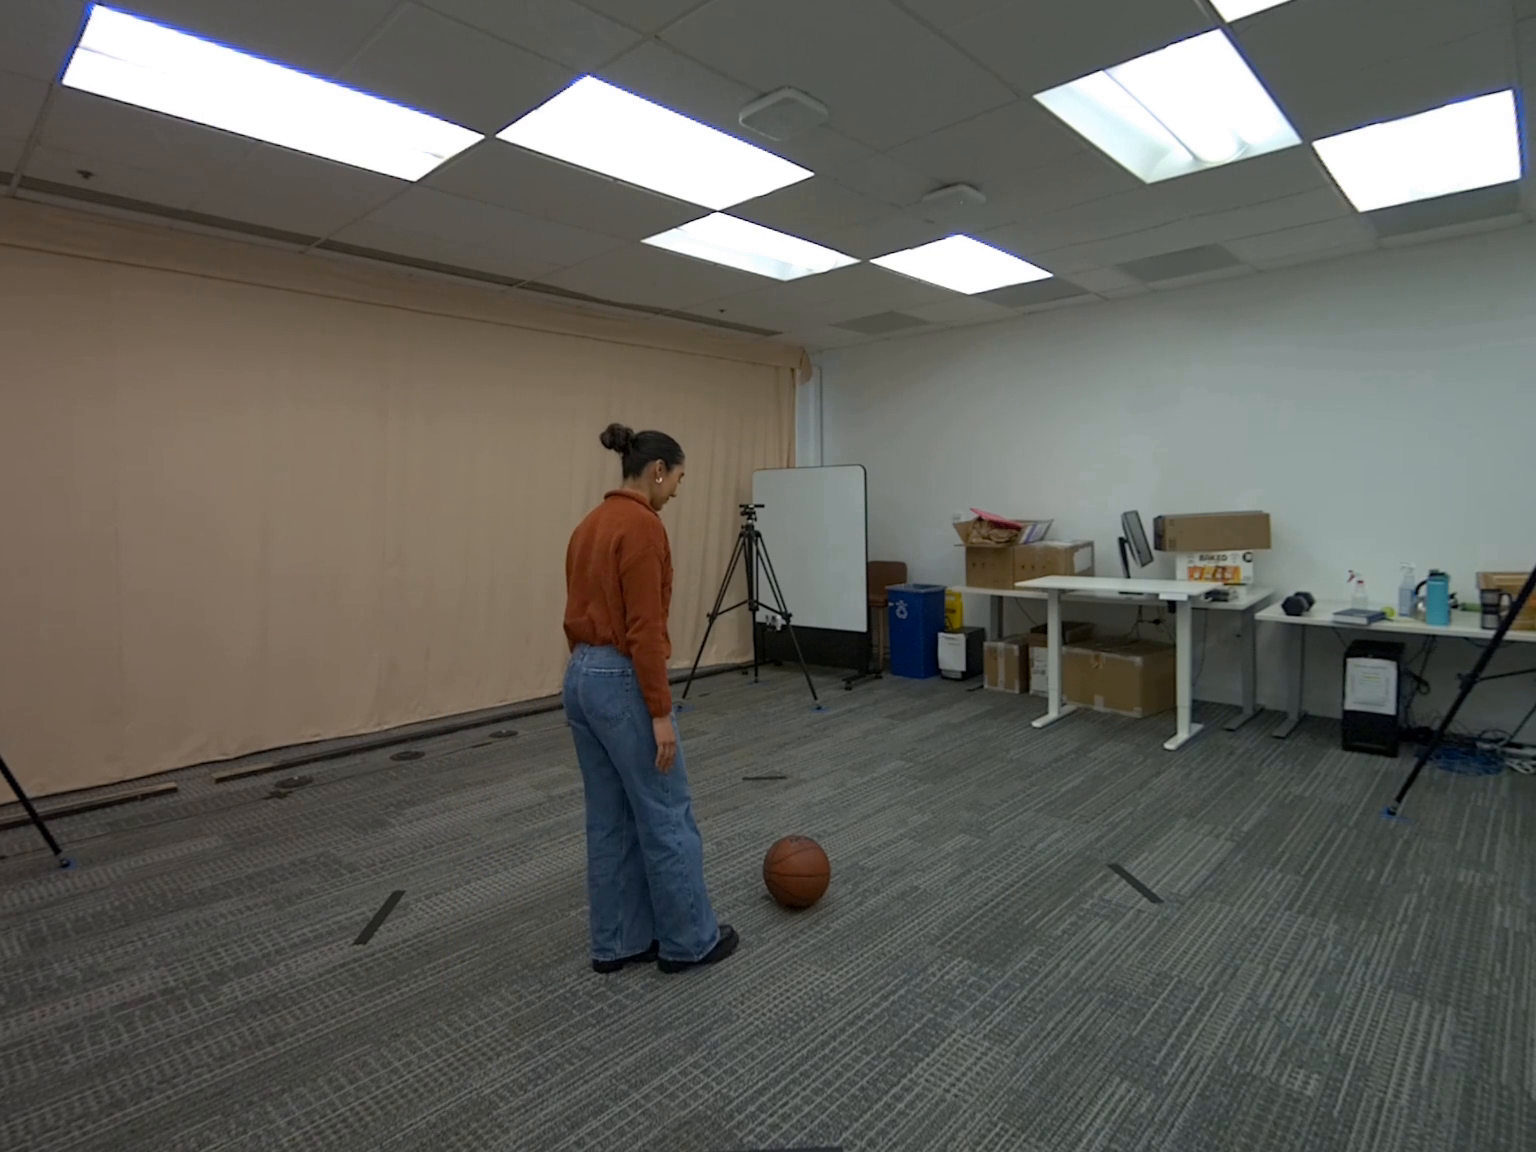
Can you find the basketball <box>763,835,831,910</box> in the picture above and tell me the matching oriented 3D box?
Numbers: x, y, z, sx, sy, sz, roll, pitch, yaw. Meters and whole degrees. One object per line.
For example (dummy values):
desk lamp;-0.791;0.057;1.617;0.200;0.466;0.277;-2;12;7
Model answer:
basketball;0.098;1.024;2.925;0.236;0.235;0.237;-1;4;-2
